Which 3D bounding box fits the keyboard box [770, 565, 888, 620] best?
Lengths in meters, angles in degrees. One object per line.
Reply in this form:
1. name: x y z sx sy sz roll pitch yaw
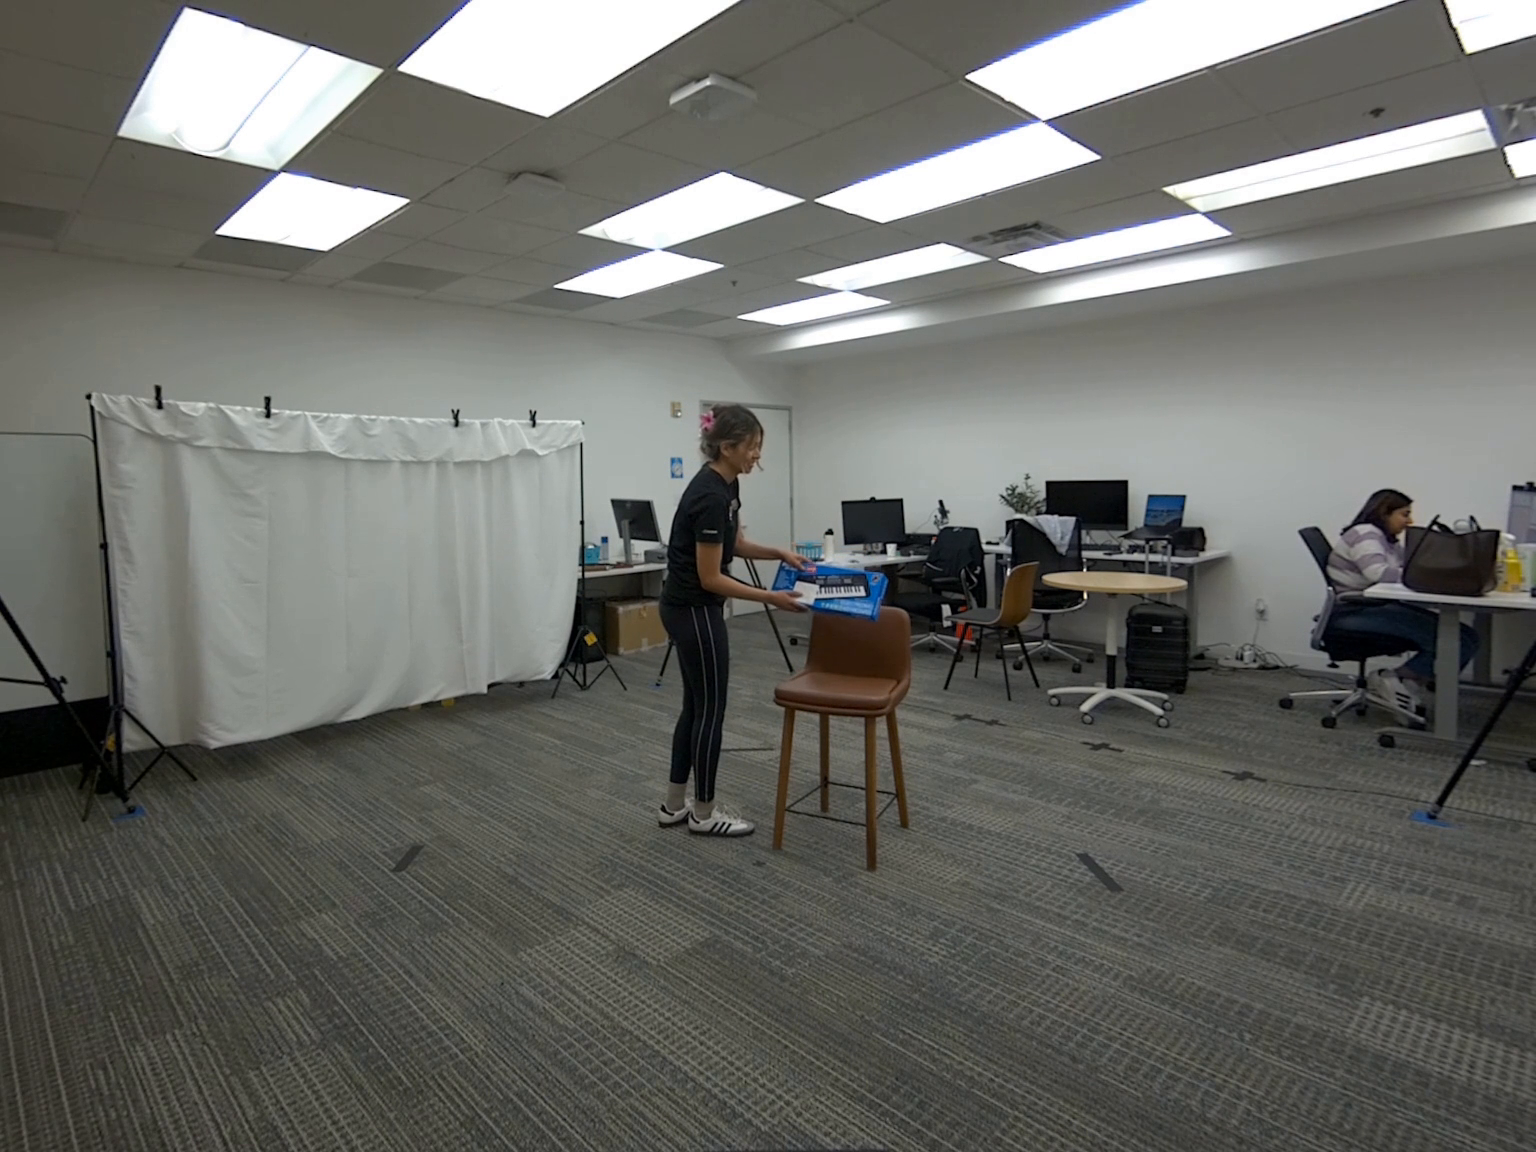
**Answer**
1. keyboard box: 0.221 0.059 3.255 0.450 0.178 0.057 8 -24 32
